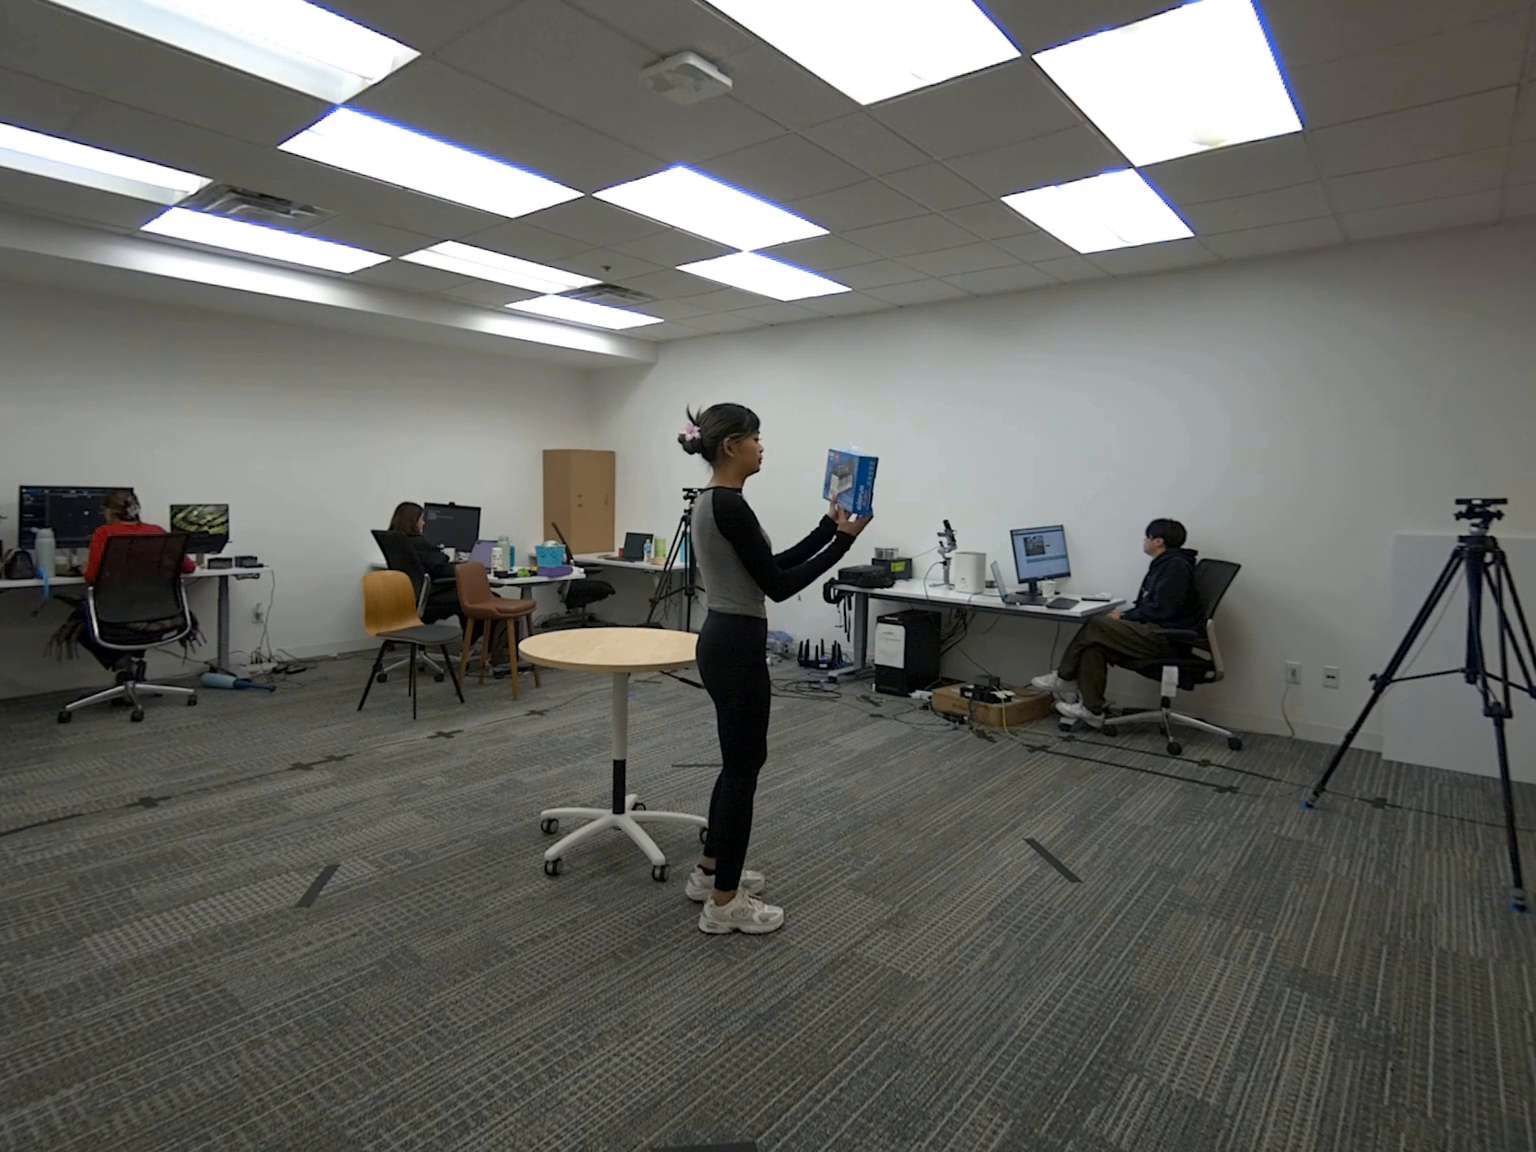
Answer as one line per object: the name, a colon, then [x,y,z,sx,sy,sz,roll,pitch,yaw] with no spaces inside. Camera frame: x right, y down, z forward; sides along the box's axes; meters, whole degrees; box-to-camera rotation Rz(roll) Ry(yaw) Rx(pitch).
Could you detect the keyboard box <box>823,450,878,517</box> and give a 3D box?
keyboard box: [0.252,-0.309,2.698,0.058,0.175,0.444,5,9,-9]
